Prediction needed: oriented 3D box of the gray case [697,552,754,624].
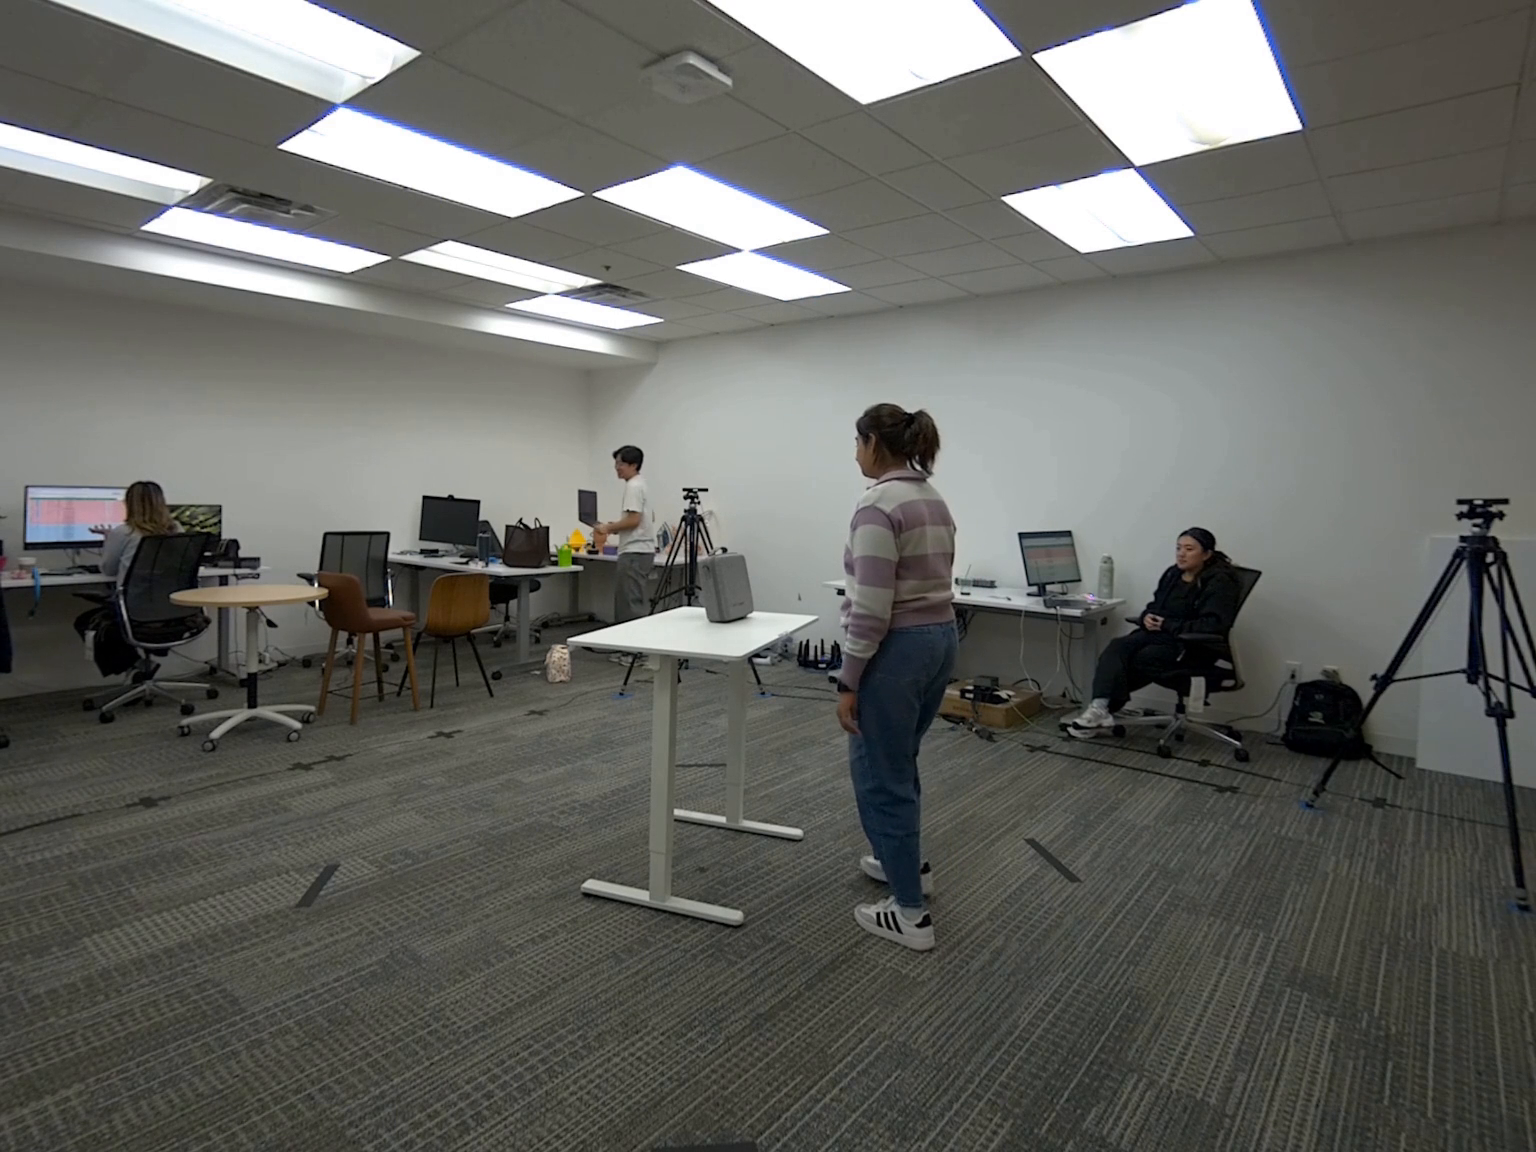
[{"bbox_3d":[-0.175,0.036,3.328,0.106,0.262,0.251,-10,-3,24],"label":"gray case"}]
